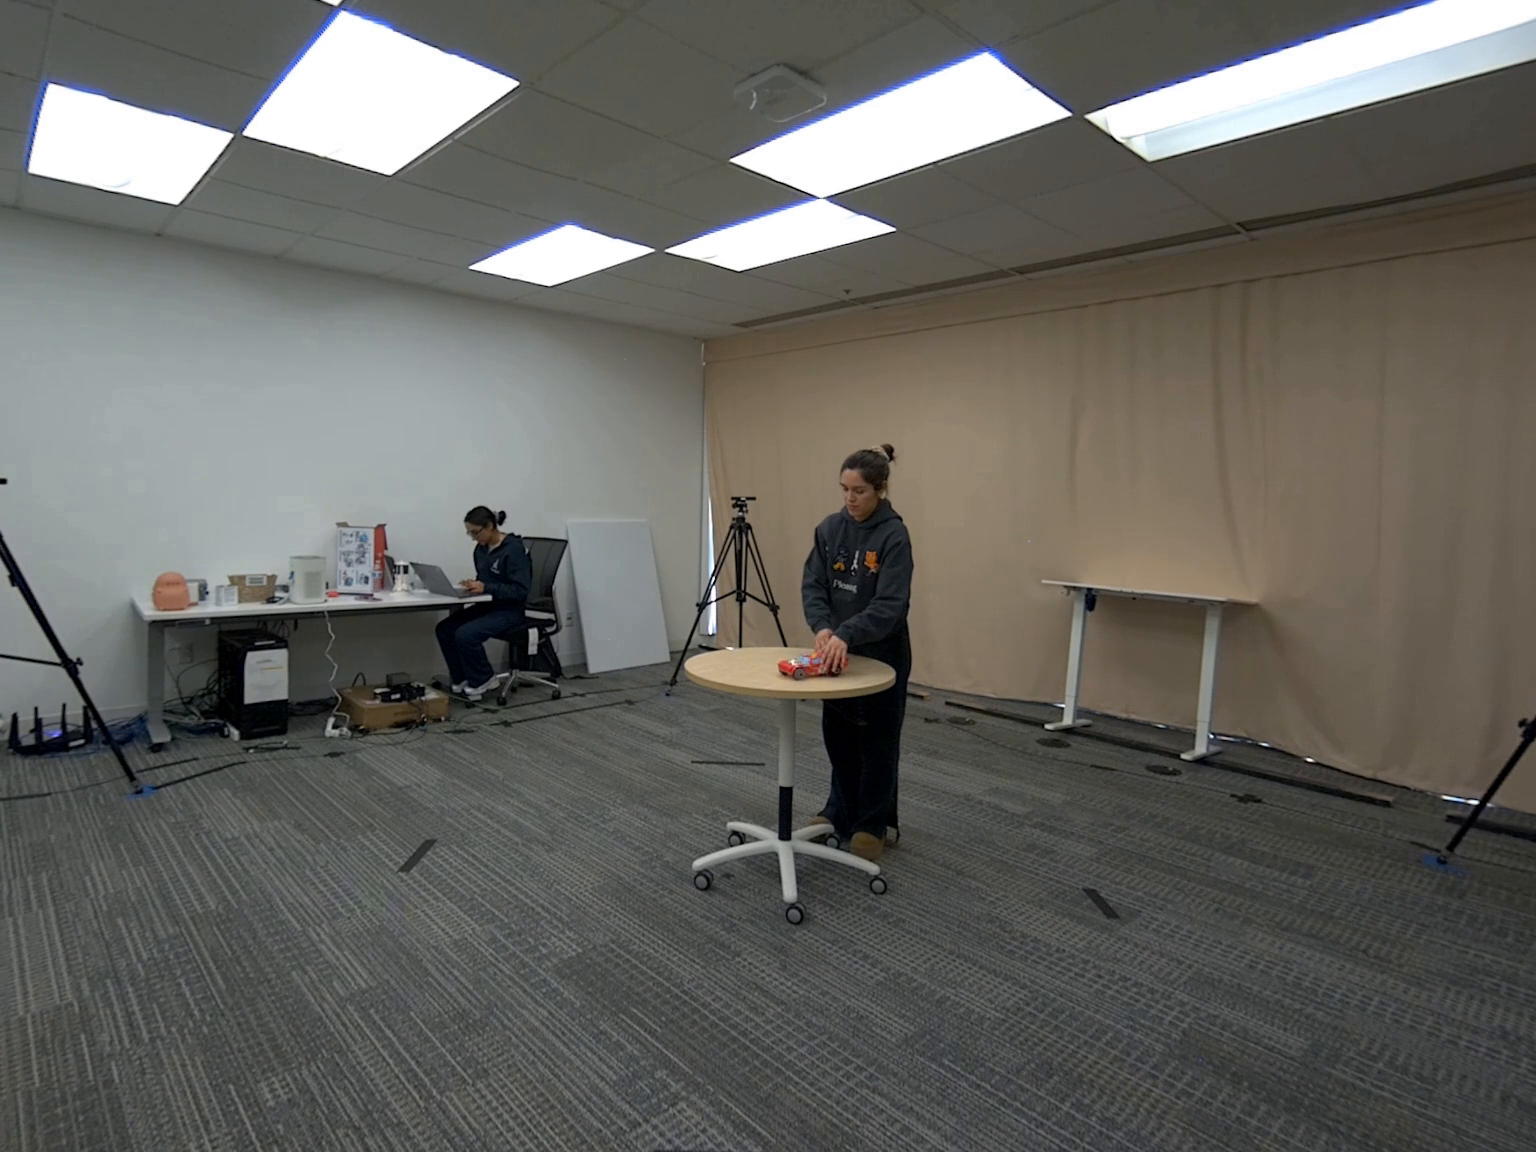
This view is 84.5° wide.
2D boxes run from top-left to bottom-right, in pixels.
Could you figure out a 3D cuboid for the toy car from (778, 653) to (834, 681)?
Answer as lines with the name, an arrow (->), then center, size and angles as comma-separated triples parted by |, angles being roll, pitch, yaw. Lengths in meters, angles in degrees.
toy car -> 0.158, 0.316, 2.944 | 0.251, 0.082, 0.133 | -13, 12, -27
